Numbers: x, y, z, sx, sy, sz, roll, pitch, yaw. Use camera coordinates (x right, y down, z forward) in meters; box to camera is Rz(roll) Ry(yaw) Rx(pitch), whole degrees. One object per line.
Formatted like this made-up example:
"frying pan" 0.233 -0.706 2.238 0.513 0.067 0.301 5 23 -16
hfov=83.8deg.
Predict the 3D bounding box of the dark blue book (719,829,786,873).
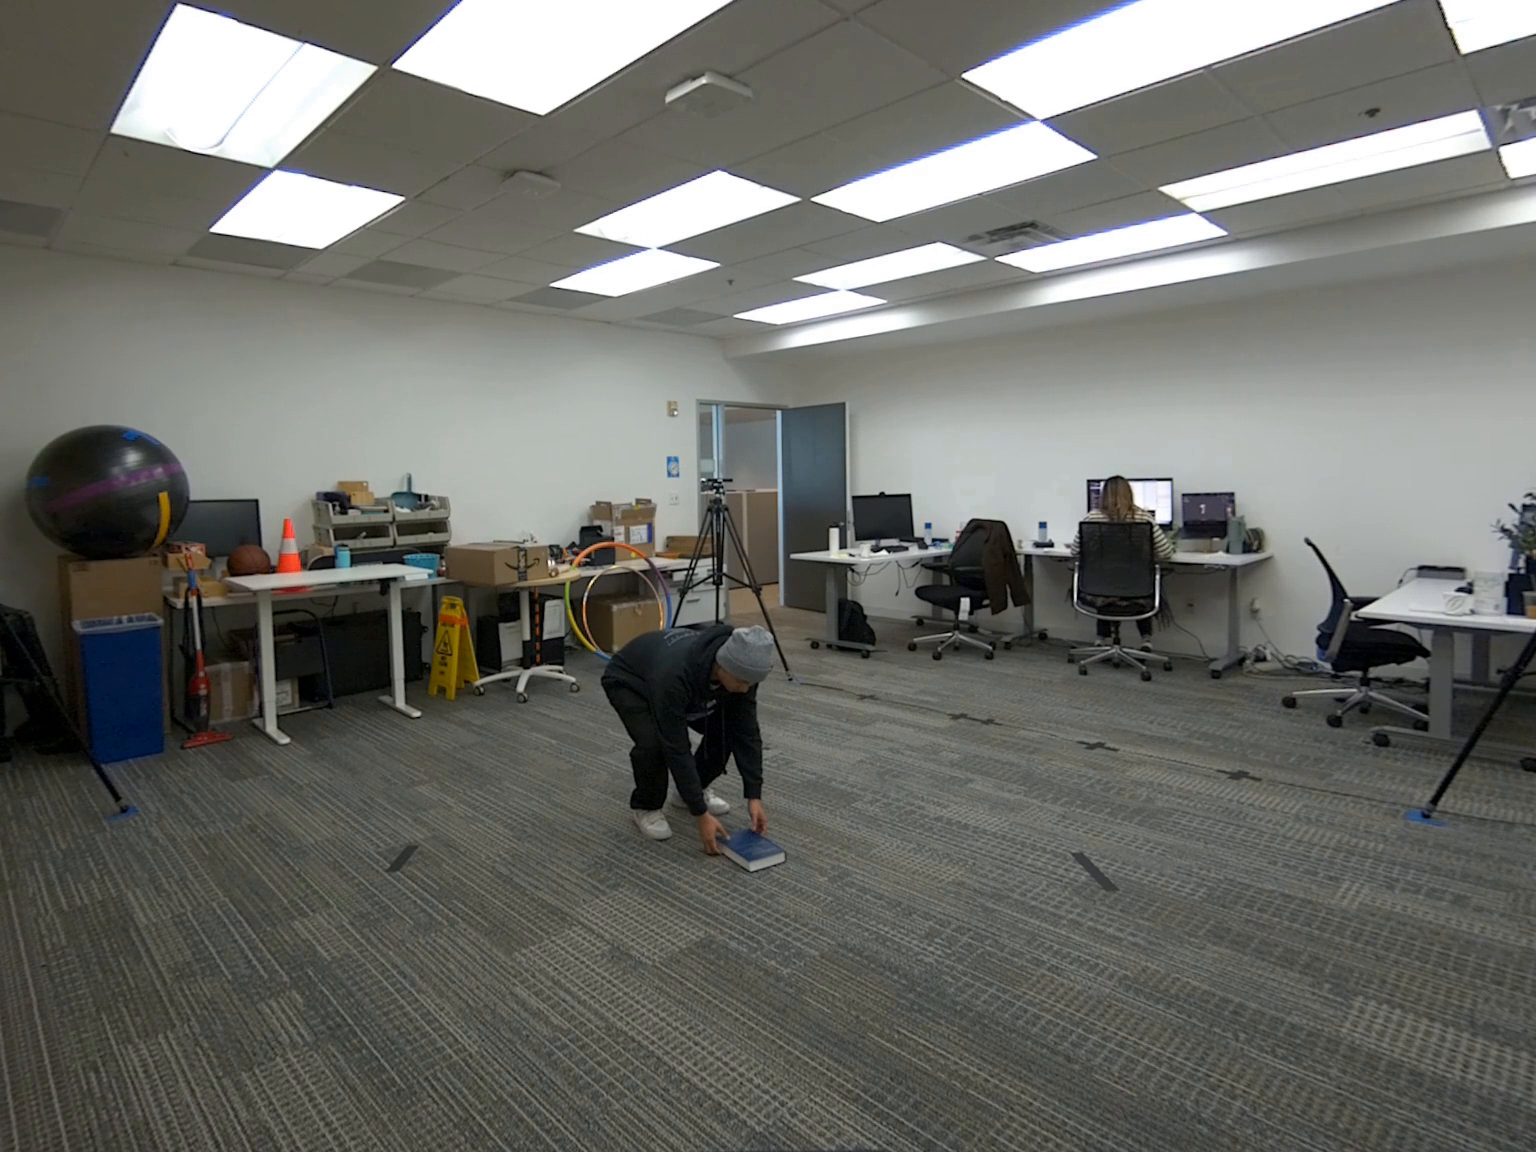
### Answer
"dark blue book" -0.057 1.022 3.161 0.159 0.045 0.252 -5 7 -33
